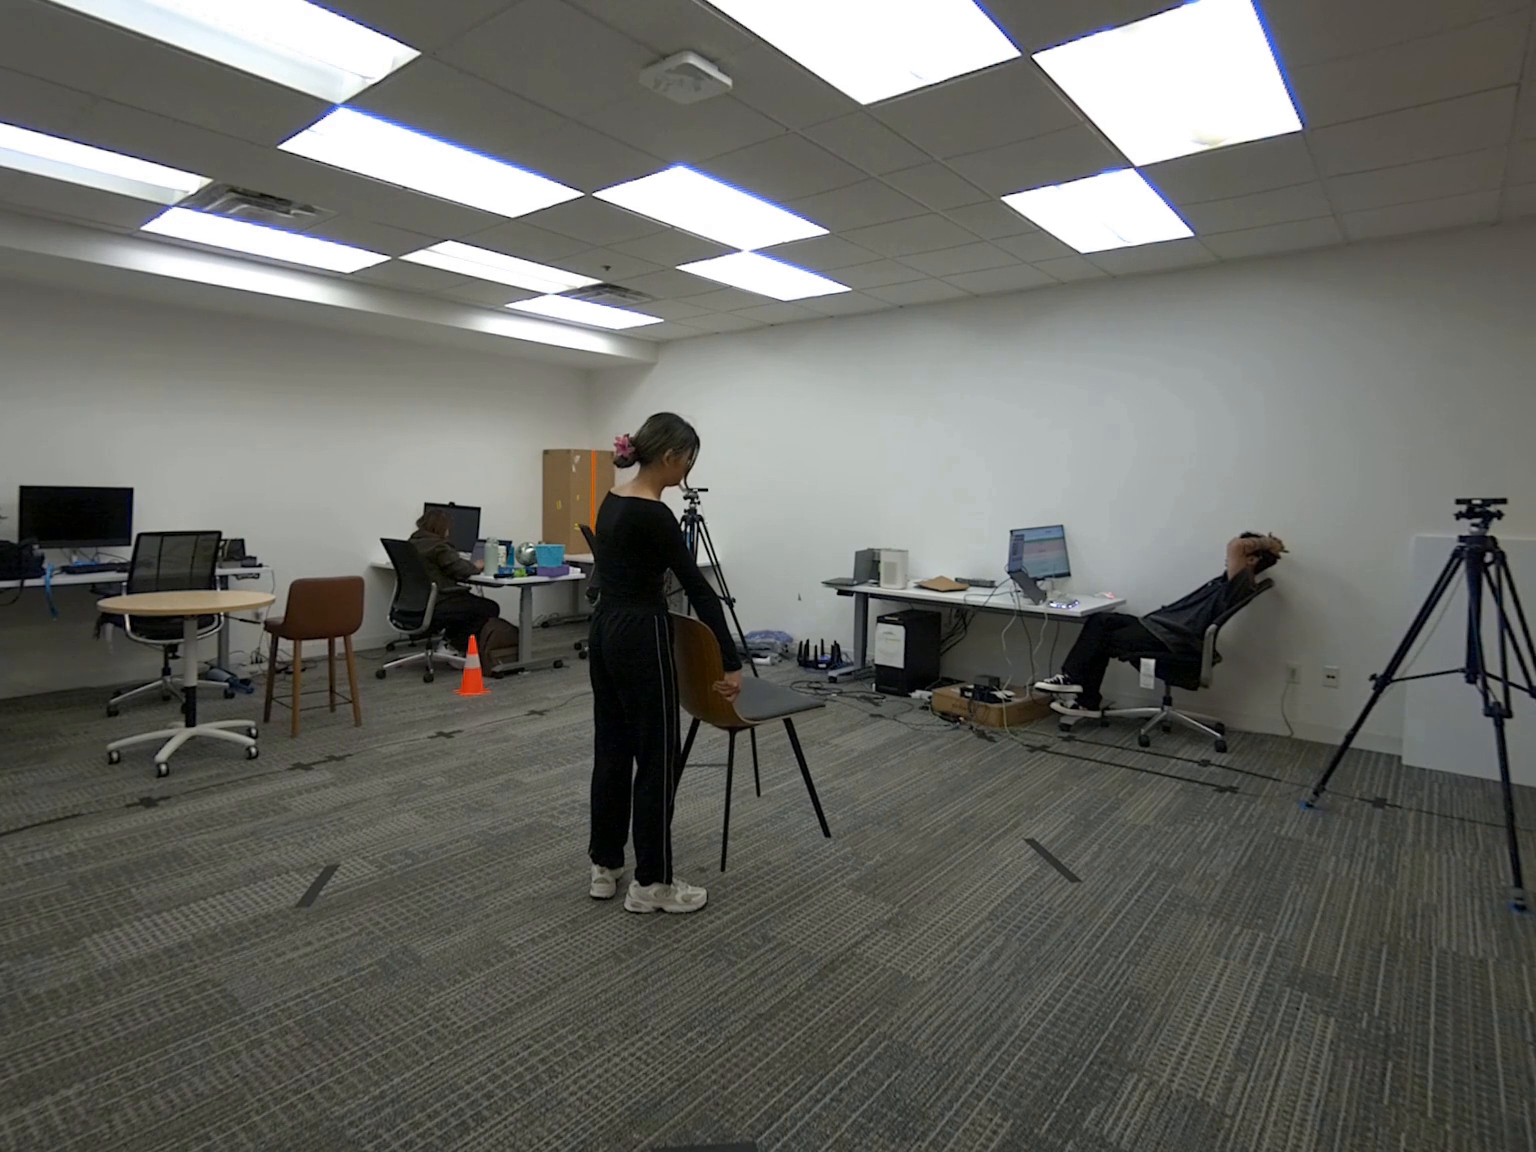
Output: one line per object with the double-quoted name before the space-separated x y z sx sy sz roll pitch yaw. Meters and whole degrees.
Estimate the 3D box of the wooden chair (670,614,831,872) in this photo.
"wooden chair" -0.100 0.500 3.044 0.511 0.870 0.493 -10 9 -31
